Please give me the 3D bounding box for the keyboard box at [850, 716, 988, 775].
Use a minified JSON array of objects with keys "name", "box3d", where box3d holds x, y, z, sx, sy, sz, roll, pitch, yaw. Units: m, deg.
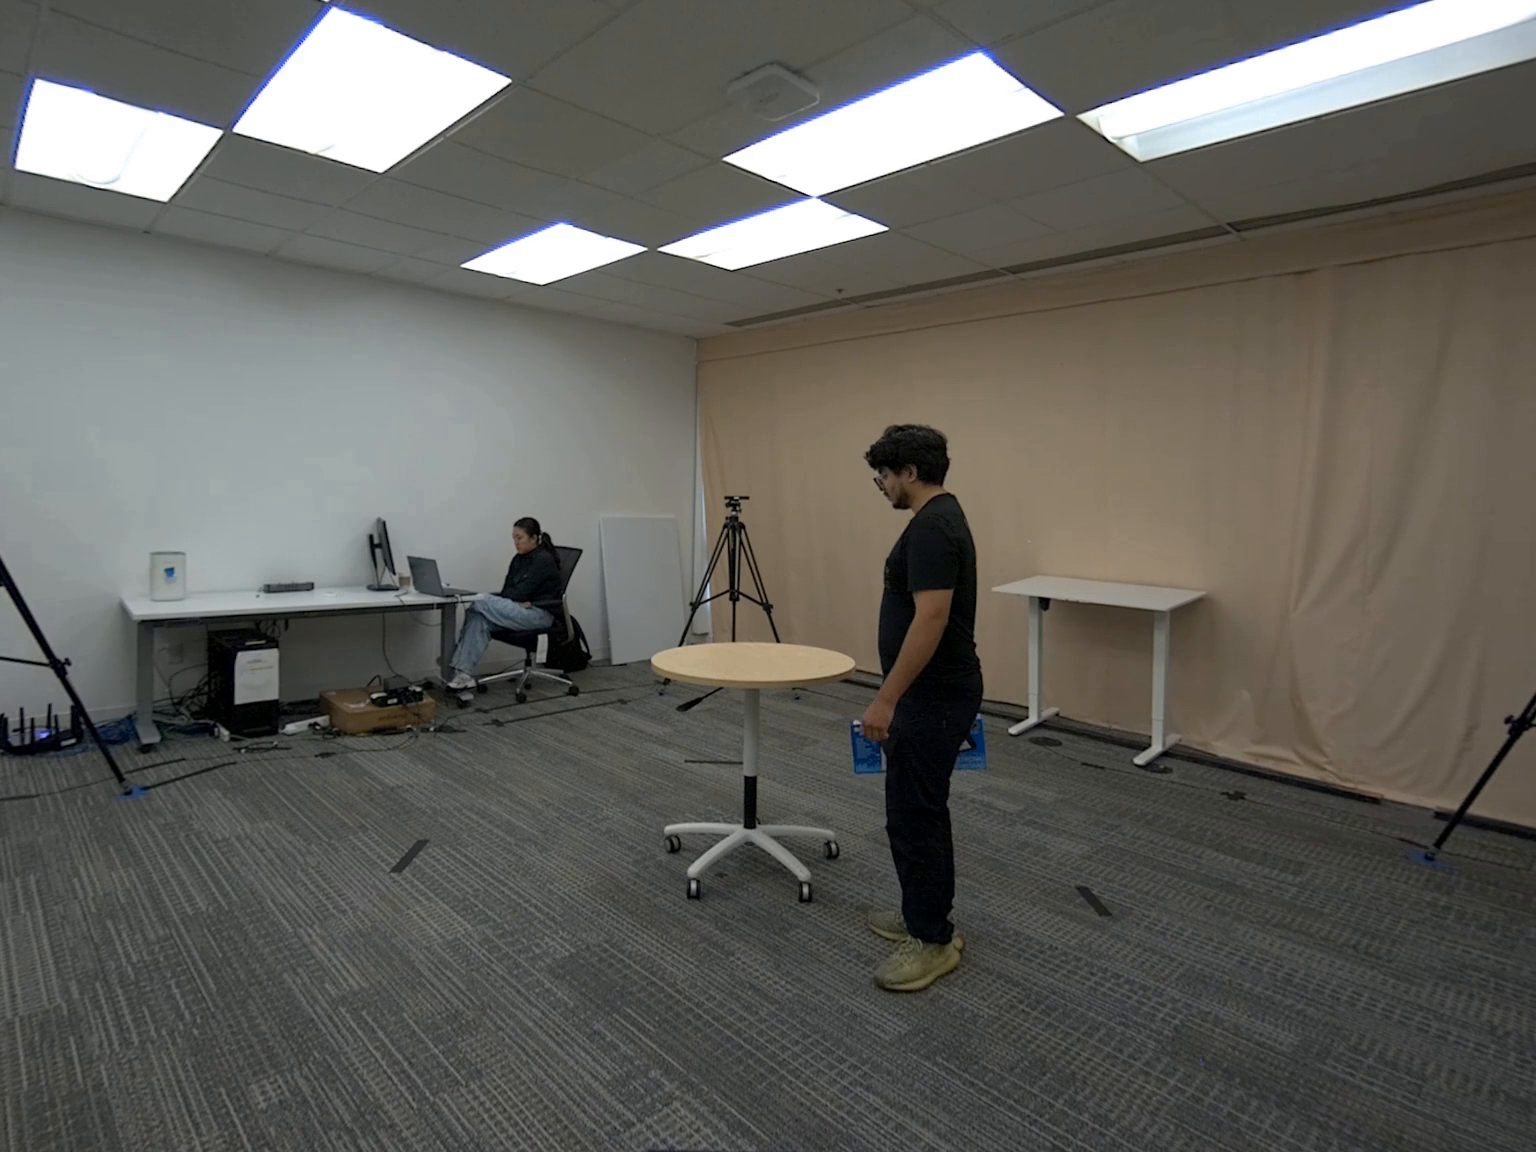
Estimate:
[{"name":"keyboard box","box3d":[0.501,0.565,2.847,0.440,0.175,0.059,-3,3,10]}]
